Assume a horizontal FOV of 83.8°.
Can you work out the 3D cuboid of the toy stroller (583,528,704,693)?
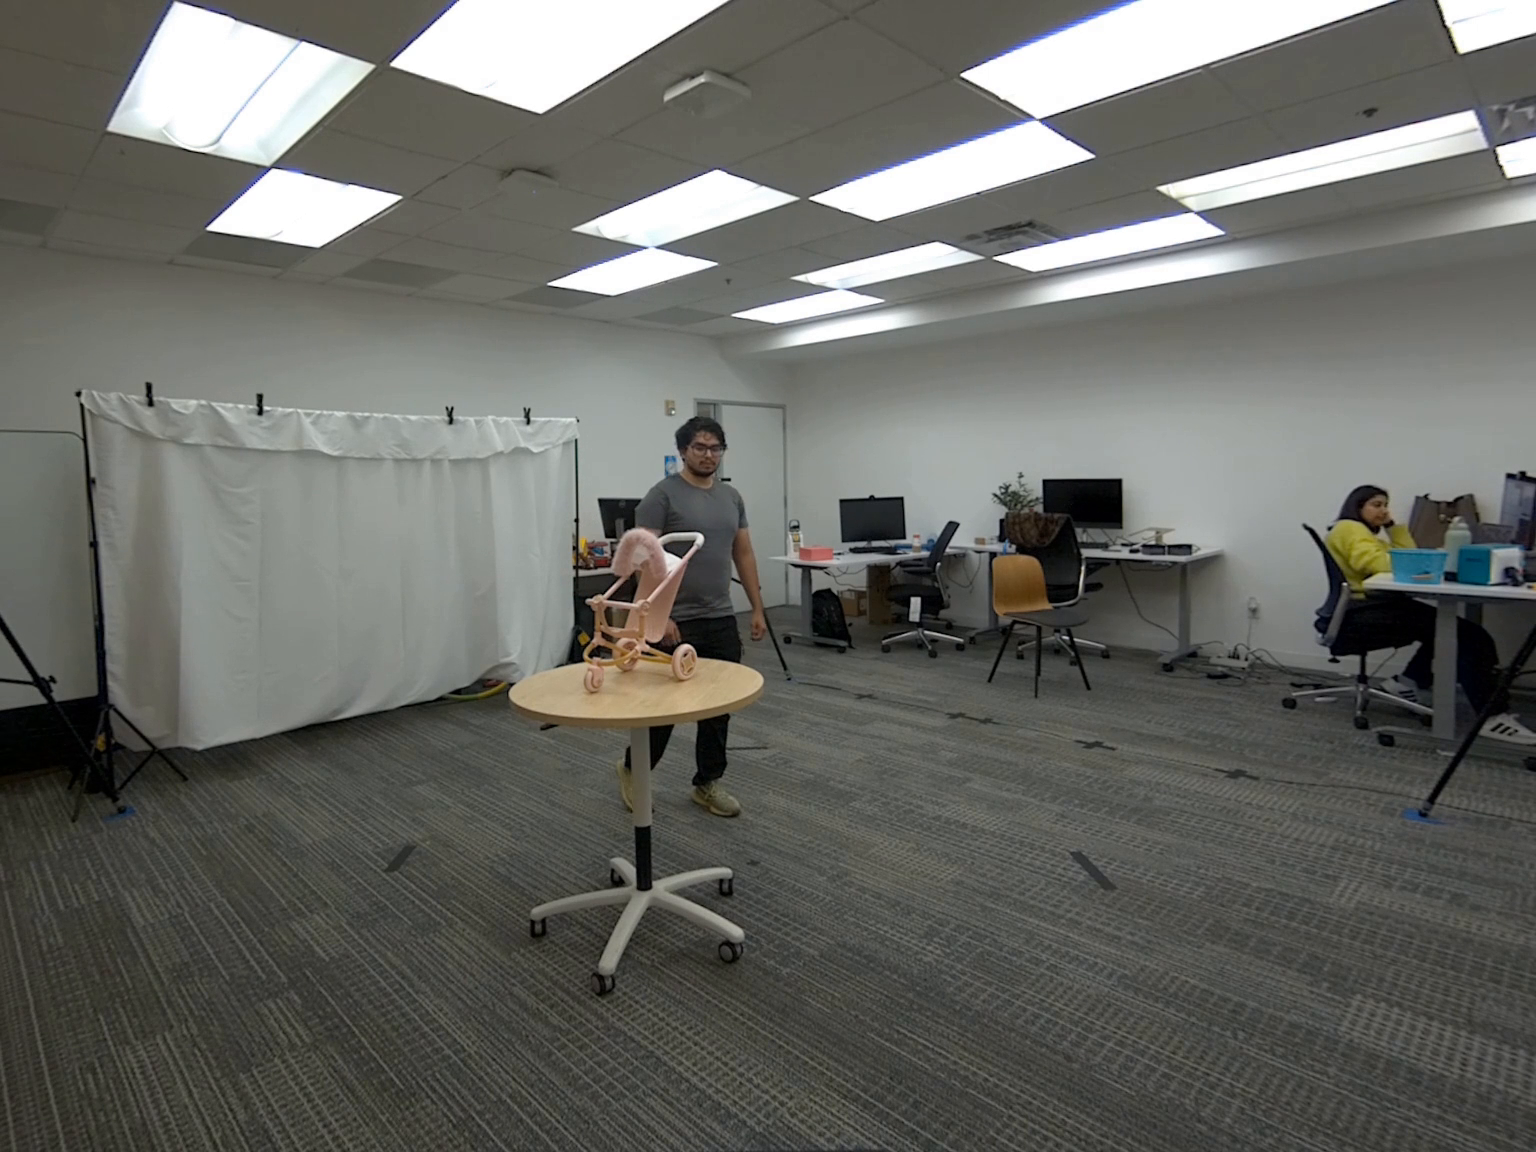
[{"bbox_3d":[-0.405,0.100,2.634,0.290,0.538,0.329,0,-10,41],"label":"toy stroller"}]
